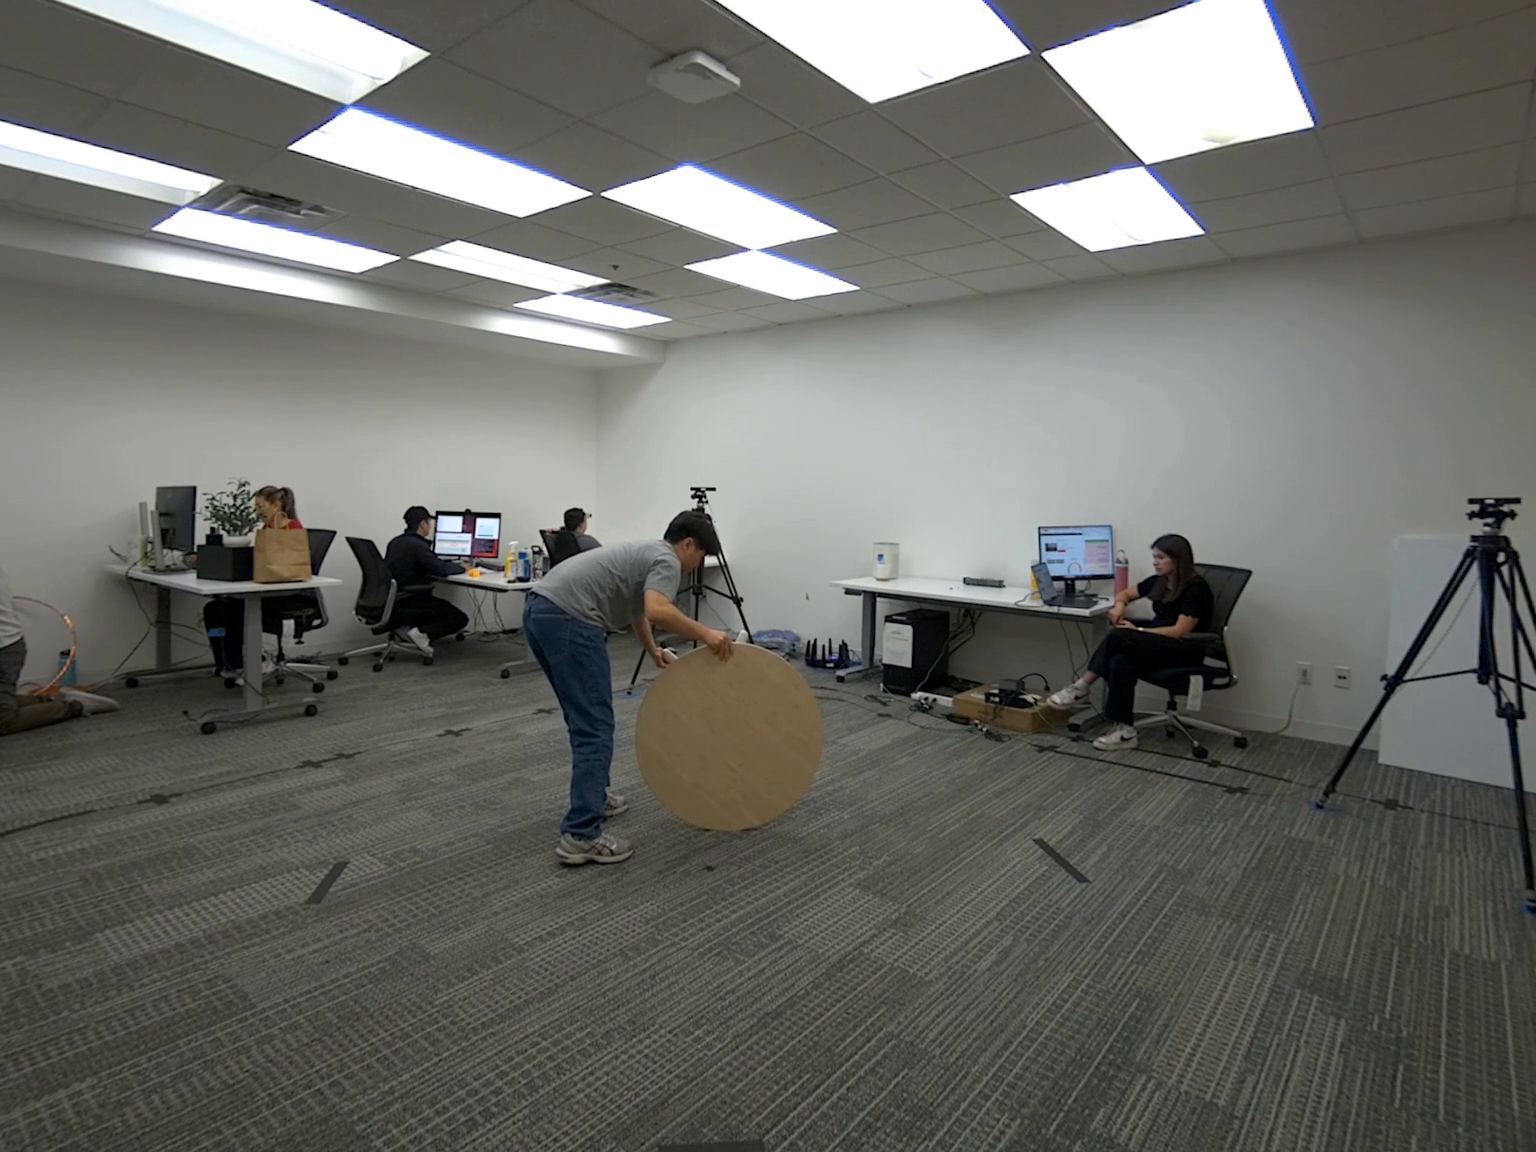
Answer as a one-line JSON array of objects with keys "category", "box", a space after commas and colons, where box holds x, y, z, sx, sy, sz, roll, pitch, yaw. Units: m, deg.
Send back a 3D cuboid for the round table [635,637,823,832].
[{"category": "round table", "box": [-0.211, 0.621, 3.841, 0.760, 0.762, 0.801, 1, 3, -6]}]
